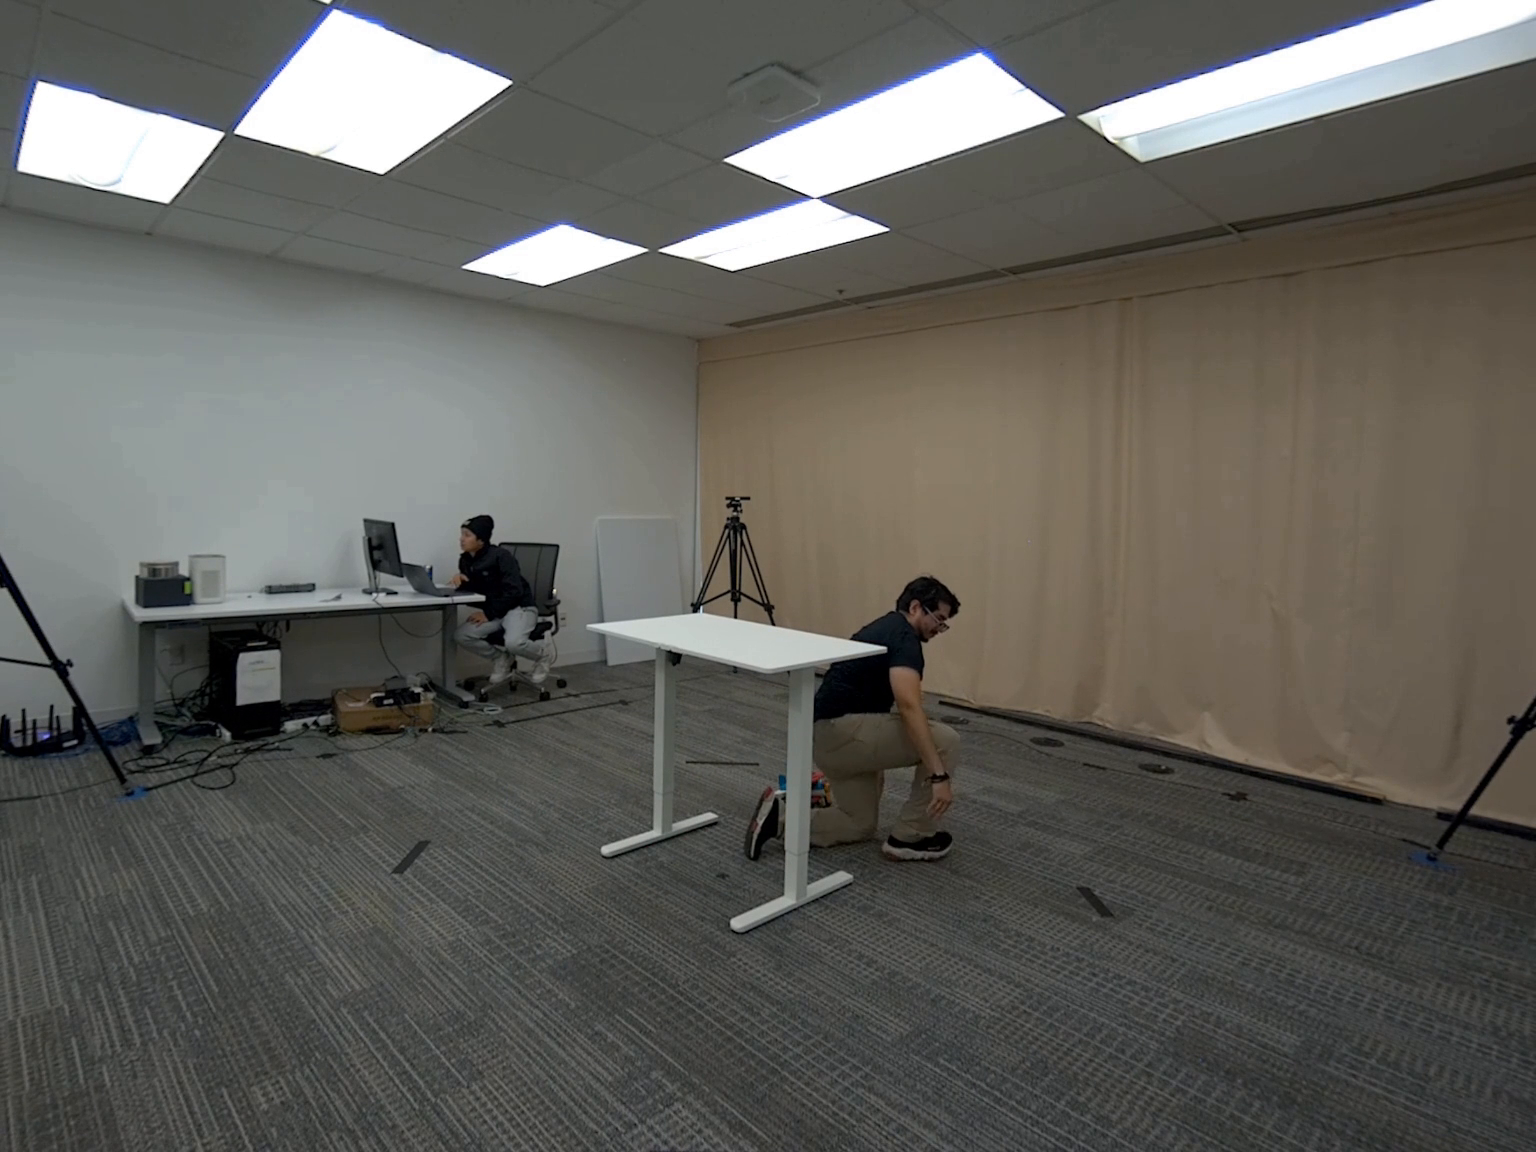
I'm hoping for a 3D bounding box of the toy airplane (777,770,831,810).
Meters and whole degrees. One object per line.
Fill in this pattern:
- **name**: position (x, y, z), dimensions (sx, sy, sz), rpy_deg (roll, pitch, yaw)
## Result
- **toy airplane**: position (0.149, 0.984, 3.817), dimensions (0.260, 0.156, 0.251), rpy_deg (2, 3, 1)
